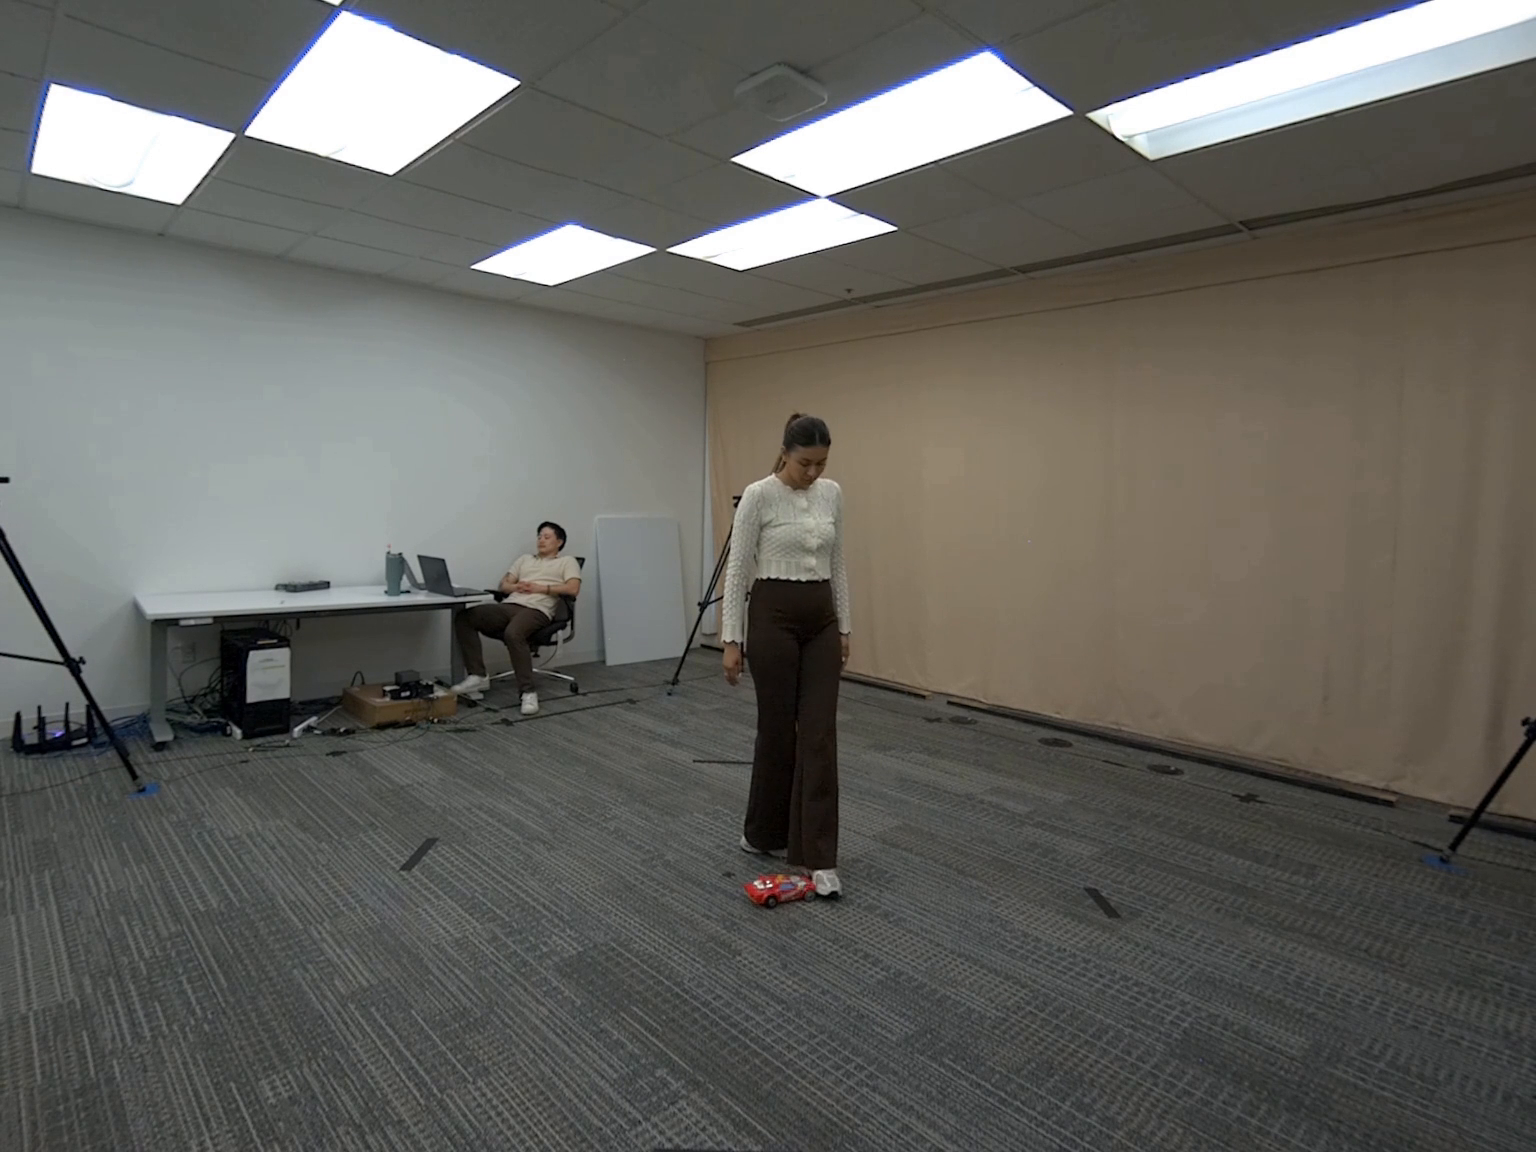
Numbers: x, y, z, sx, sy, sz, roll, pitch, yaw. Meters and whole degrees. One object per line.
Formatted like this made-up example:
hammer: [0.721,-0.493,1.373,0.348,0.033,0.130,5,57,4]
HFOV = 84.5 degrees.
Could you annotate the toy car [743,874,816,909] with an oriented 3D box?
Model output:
toy car: [0.020,1.094,2.927,0.249,0.083,0.133,12,-1,-26]
